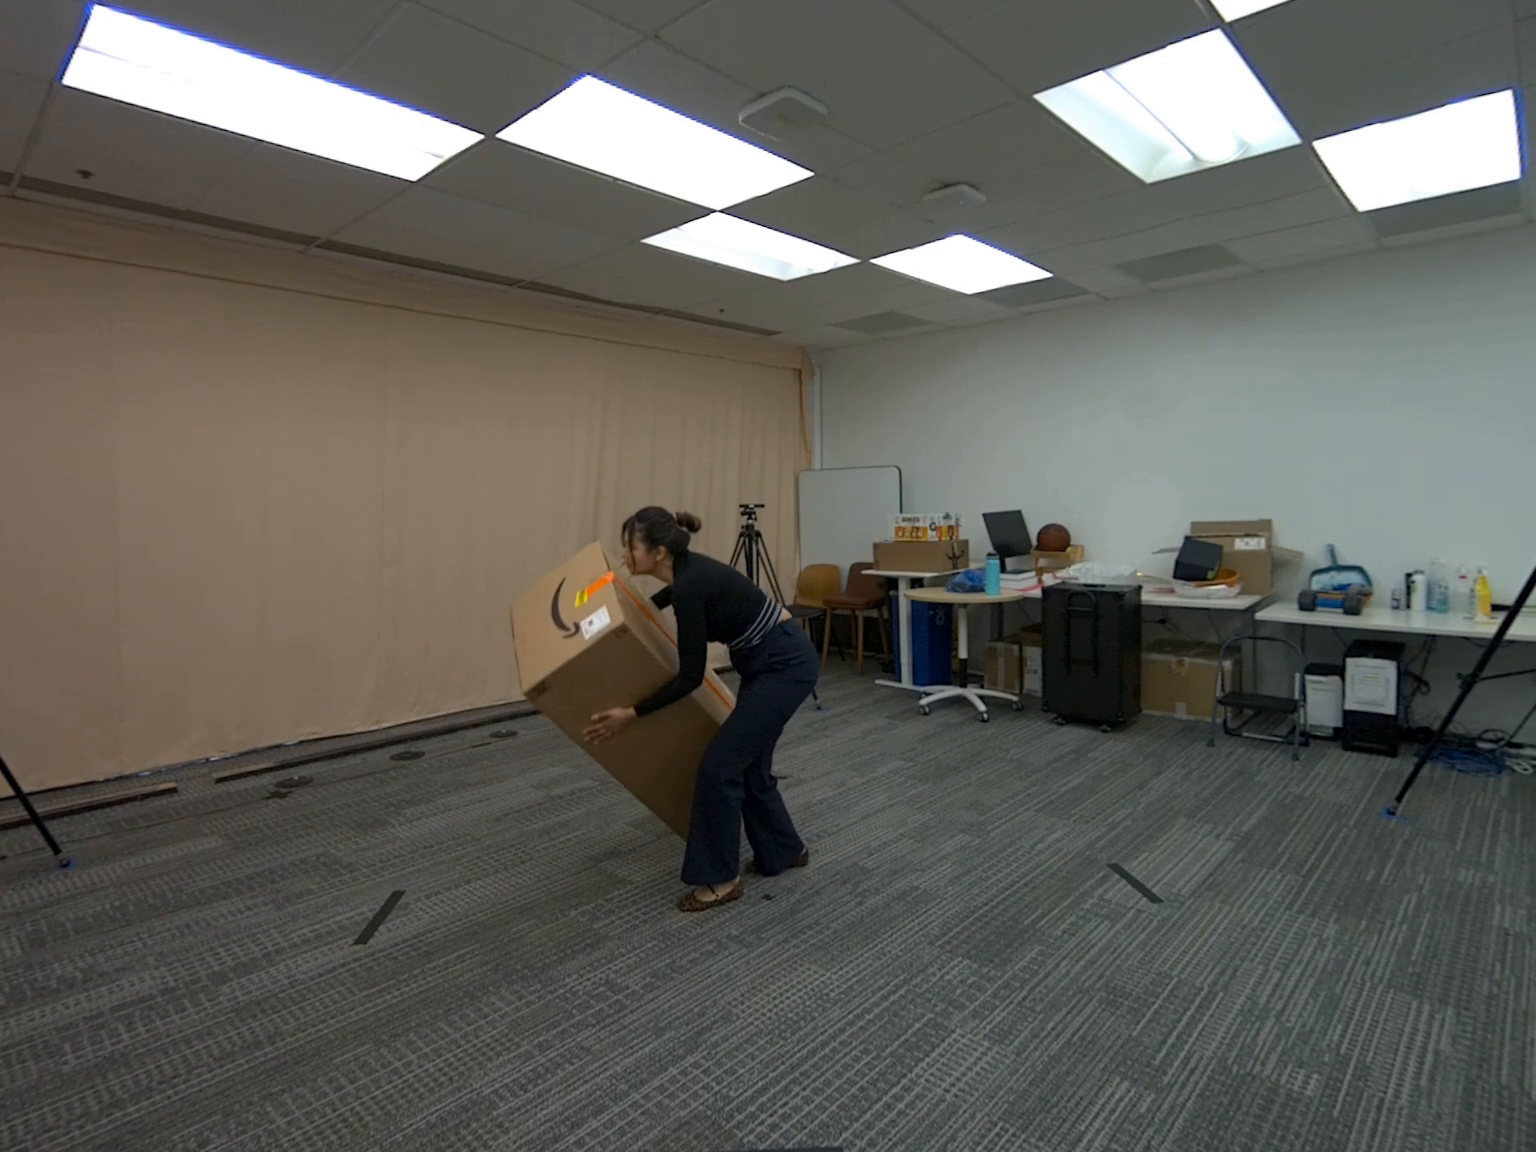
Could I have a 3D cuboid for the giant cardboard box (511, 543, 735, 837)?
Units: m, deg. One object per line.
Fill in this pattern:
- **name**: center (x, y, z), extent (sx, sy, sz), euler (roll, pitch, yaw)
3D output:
- **giant cardboard box**: center (-0.479, 0.453, 3.231), extent (0.427, 0.994, 0.595), euler (-35, 34, 2)
